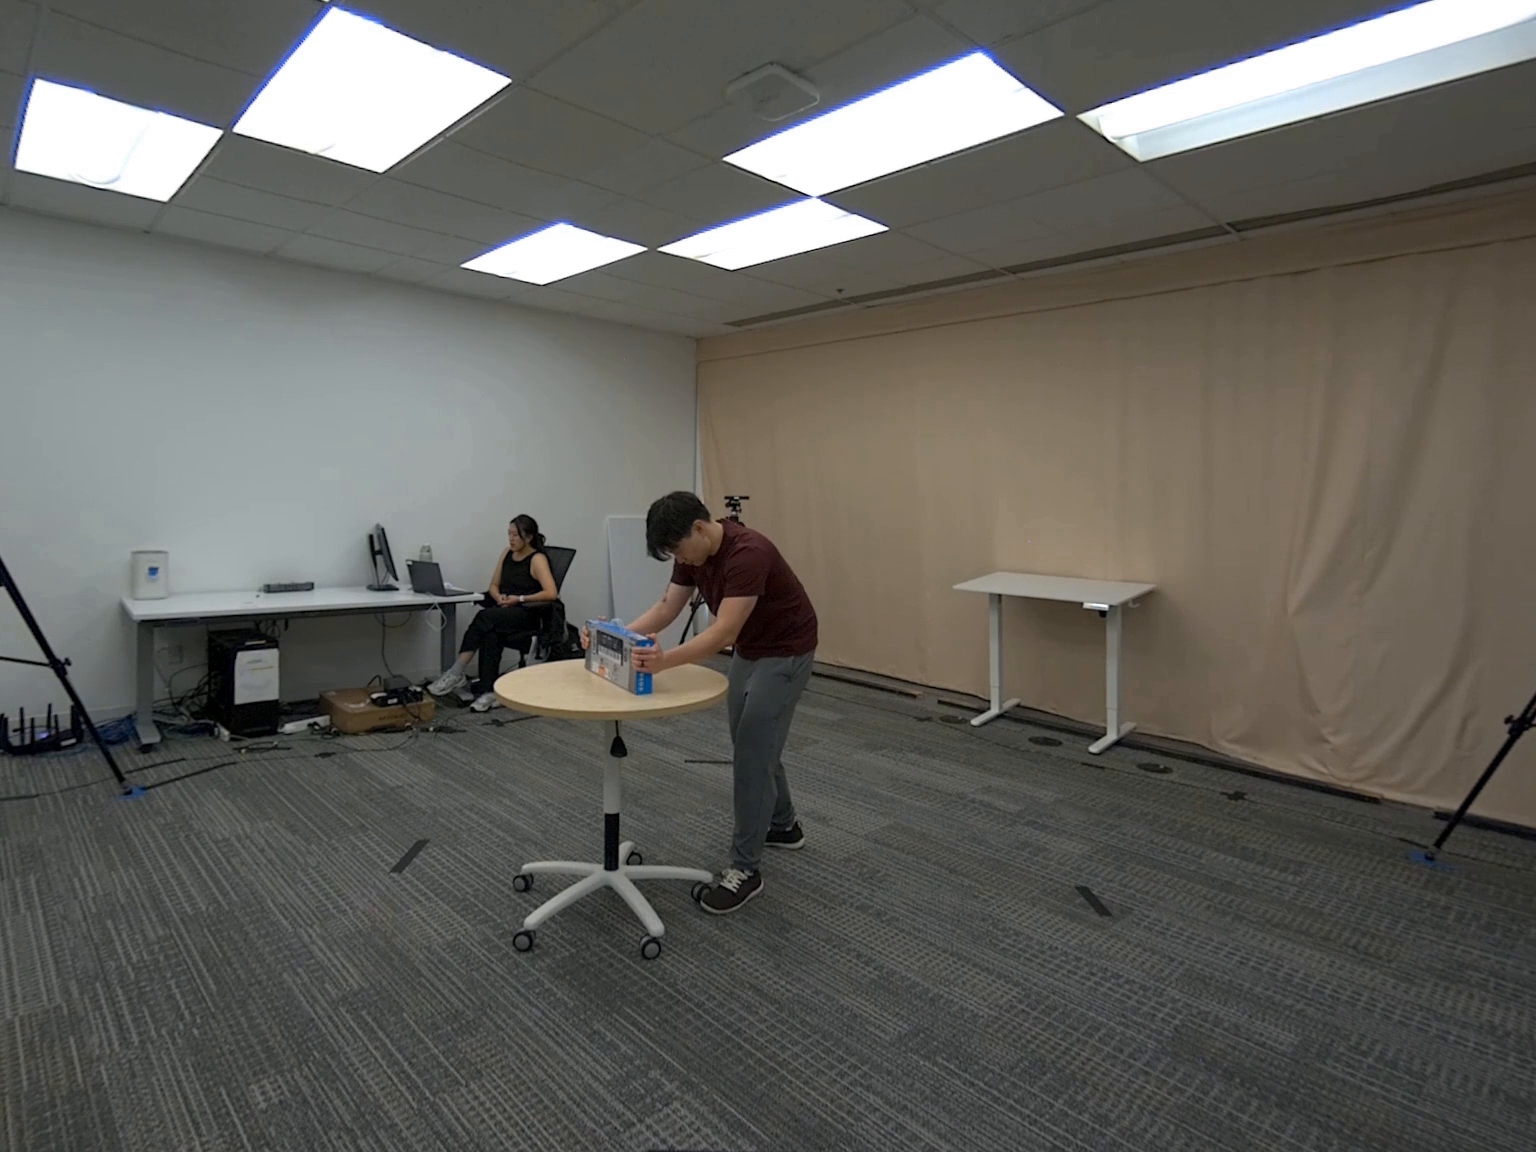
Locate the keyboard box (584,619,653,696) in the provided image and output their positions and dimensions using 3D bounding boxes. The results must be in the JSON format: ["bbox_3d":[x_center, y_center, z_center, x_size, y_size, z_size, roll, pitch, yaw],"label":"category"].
[{"bbox_3d":[-0.513,0.271,2.790,0.058,0.175,0.447,-4,8,-32],"label":"keyboard box"}]
